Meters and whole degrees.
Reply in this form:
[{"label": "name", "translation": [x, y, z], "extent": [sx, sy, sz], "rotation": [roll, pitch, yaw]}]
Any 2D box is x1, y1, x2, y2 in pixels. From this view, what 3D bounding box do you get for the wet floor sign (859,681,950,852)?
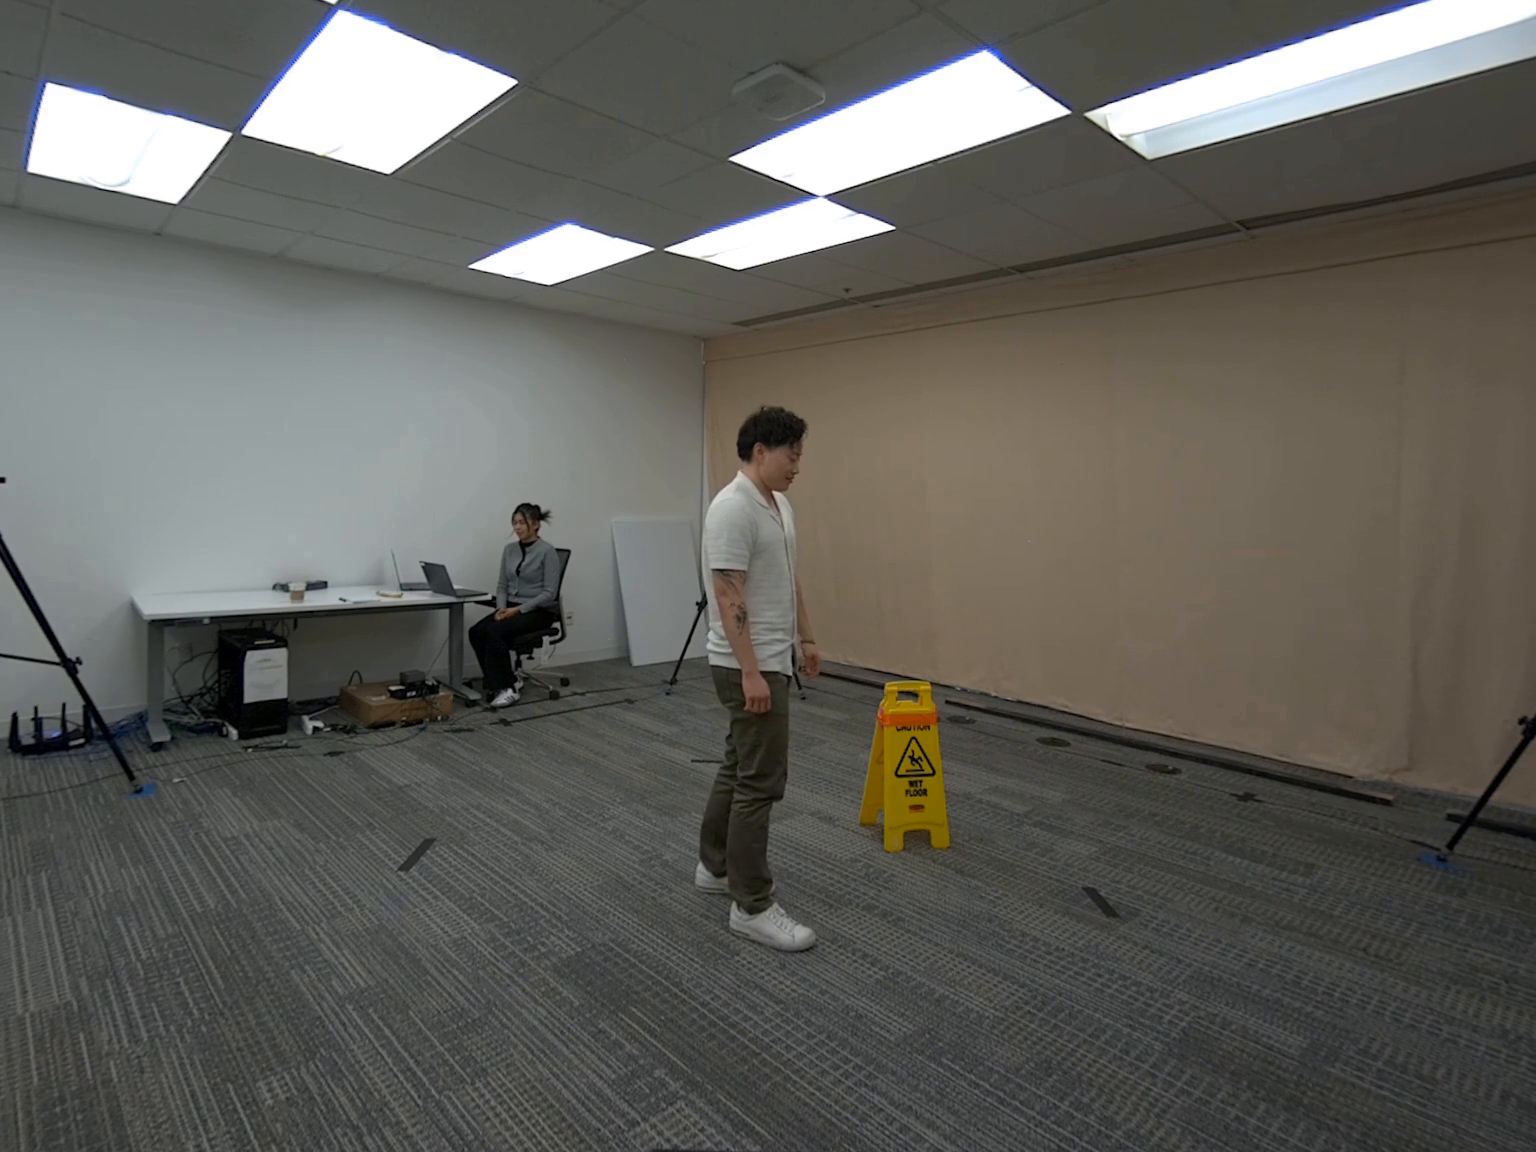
[{"label": "wet floor sign", "translation": [0.564, 0.759, 3.499], "extent": [0.279, 0.645, 0.293], "rotation": [1, 3, -14]}]
